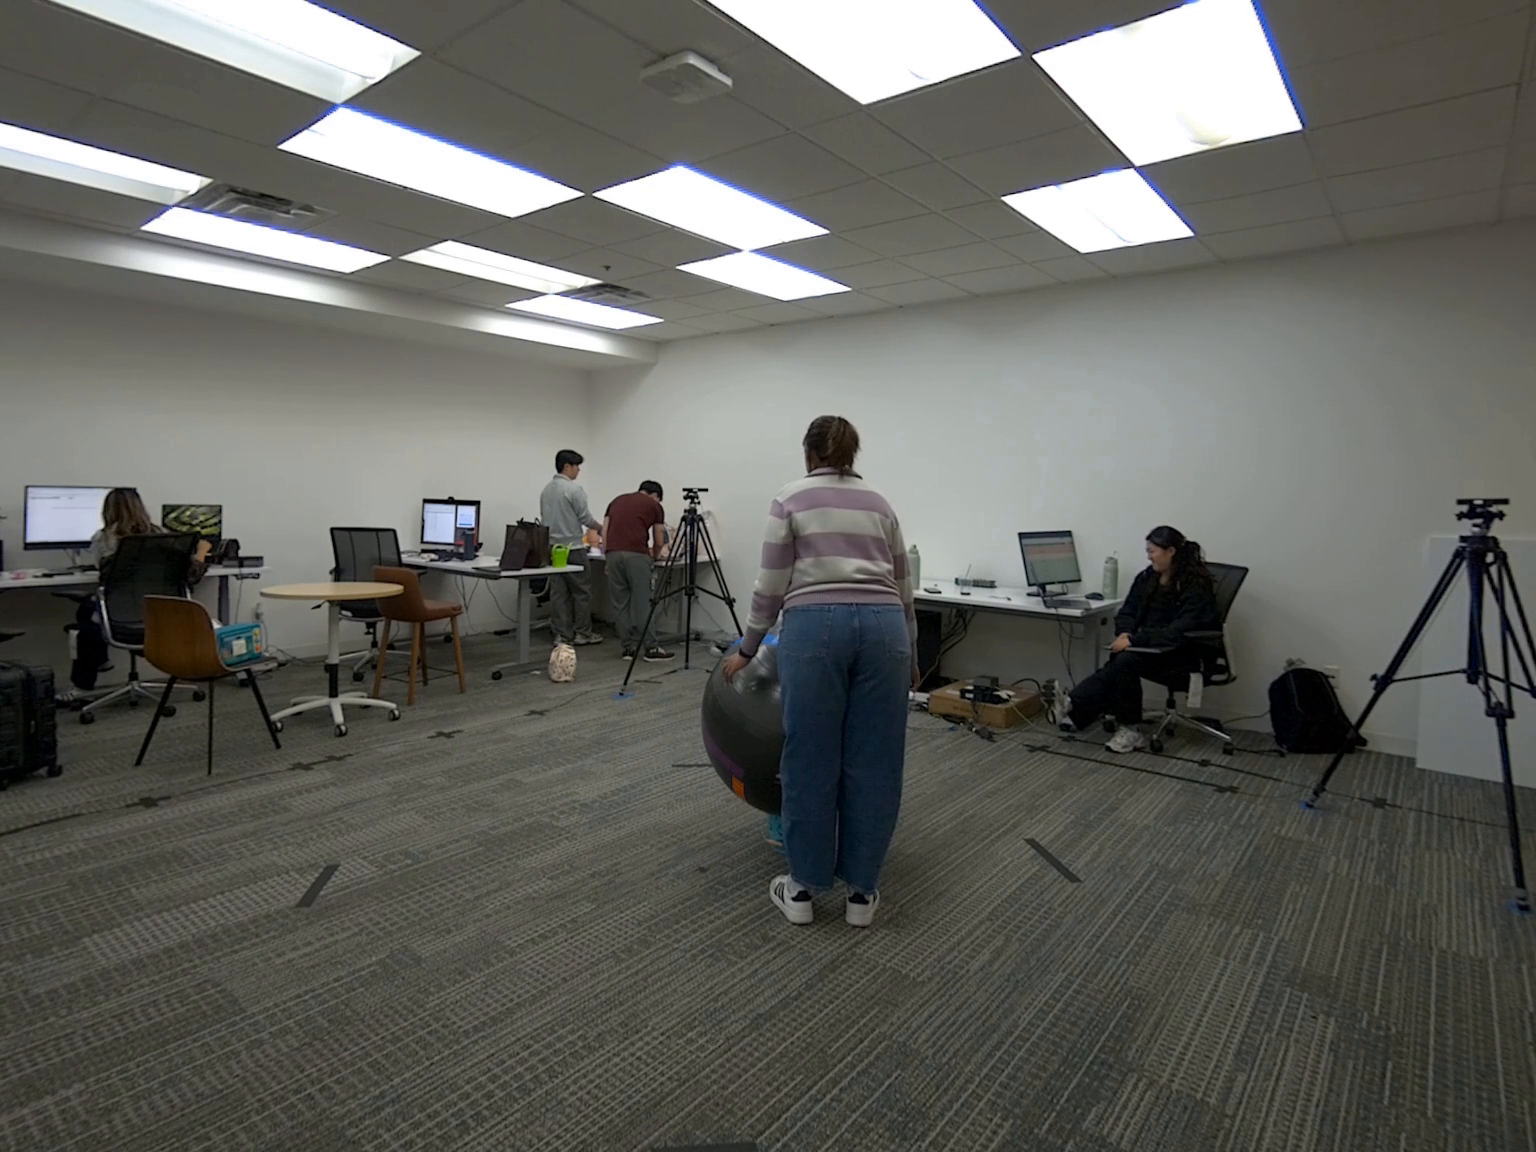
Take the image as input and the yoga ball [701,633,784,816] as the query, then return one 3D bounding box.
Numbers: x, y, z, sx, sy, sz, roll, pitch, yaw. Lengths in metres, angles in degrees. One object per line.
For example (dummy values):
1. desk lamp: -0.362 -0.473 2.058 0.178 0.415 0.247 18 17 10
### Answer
1. yoga ball: 0.122 0.552 3.304 0.757 0.756 0.762 1 4 -2
